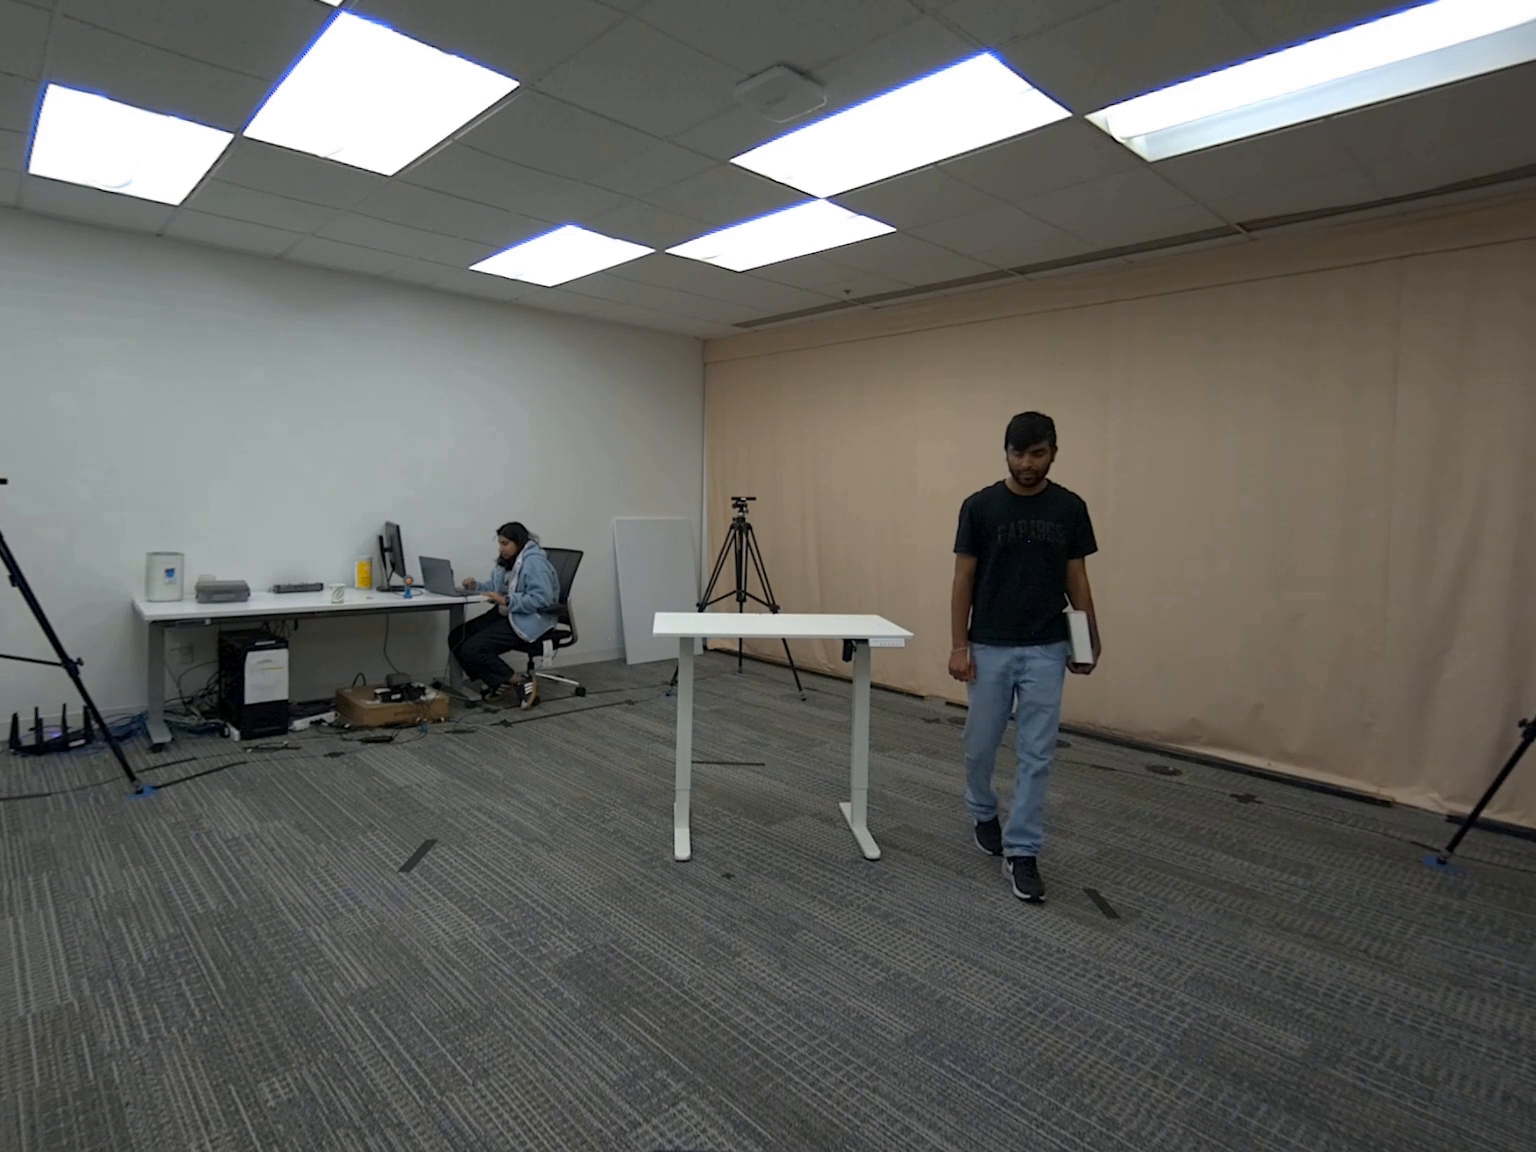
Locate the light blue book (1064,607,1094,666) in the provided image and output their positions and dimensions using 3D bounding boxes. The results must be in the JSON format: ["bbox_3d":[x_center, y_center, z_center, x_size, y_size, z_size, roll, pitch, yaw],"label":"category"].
[{"bbox_3d":[1.133,0.228,3.161,0.059,0.192,0.258,-6,-4,7],"label":"light blue book"}]
